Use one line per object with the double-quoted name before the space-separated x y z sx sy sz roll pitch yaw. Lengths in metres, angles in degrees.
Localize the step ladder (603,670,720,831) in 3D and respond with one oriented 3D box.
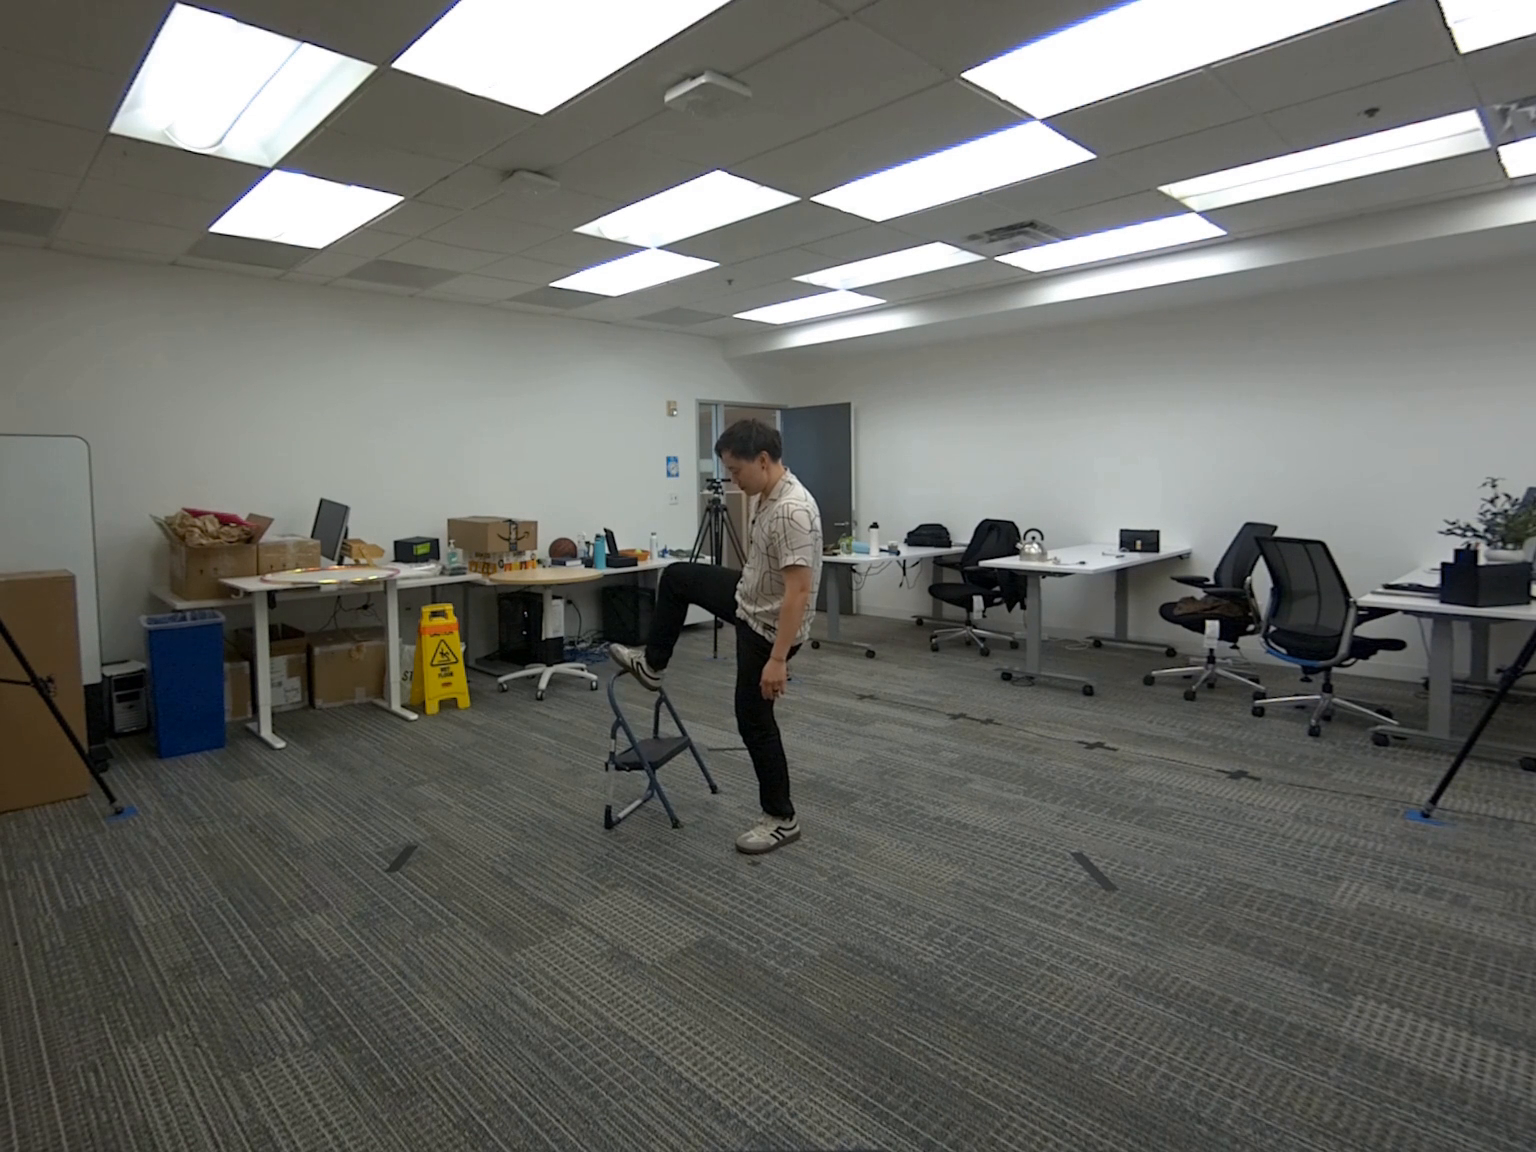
"step ladder" -0.478 0.681 3.561 0.355 0.606 0.424 -9 1 19
